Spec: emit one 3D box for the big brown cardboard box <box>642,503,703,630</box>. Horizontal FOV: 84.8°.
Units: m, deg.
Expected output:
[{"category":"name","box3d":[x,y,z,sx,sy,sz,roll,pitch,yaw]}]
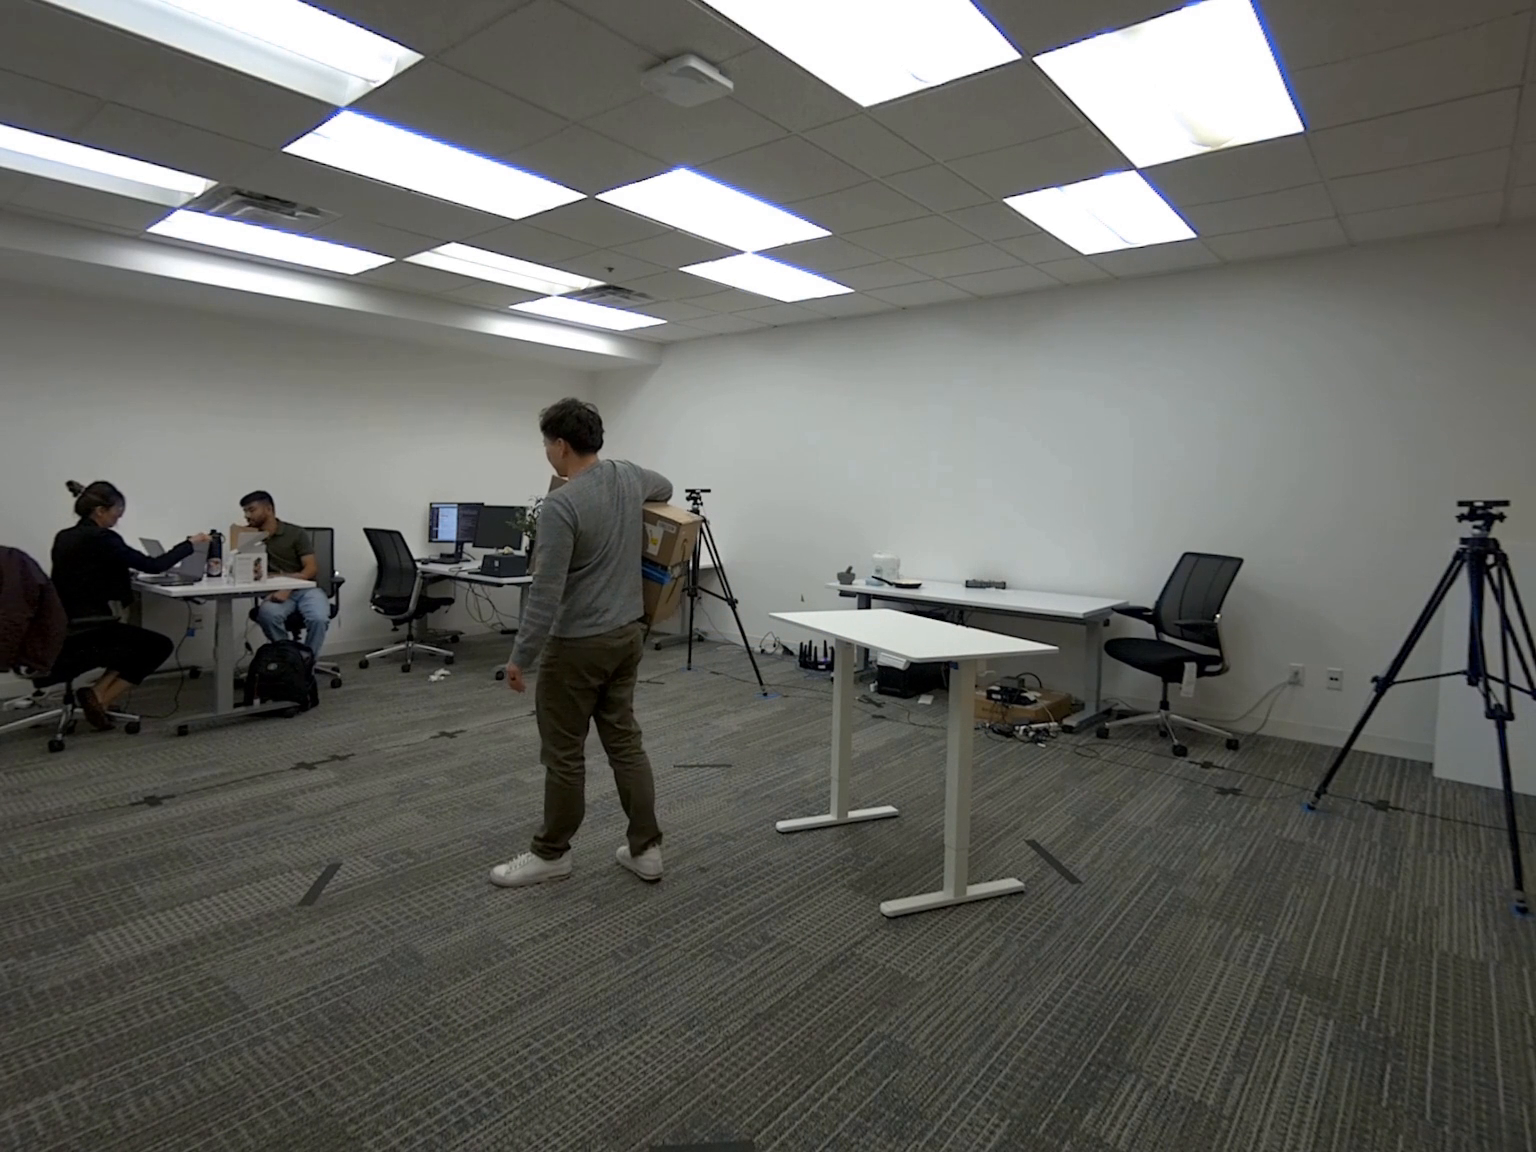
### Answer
[{"category":"big brown cardboard box","box3d":[-0.602,-0.115,3.292,0.603,0.414,0.230,21,14,17]}]
